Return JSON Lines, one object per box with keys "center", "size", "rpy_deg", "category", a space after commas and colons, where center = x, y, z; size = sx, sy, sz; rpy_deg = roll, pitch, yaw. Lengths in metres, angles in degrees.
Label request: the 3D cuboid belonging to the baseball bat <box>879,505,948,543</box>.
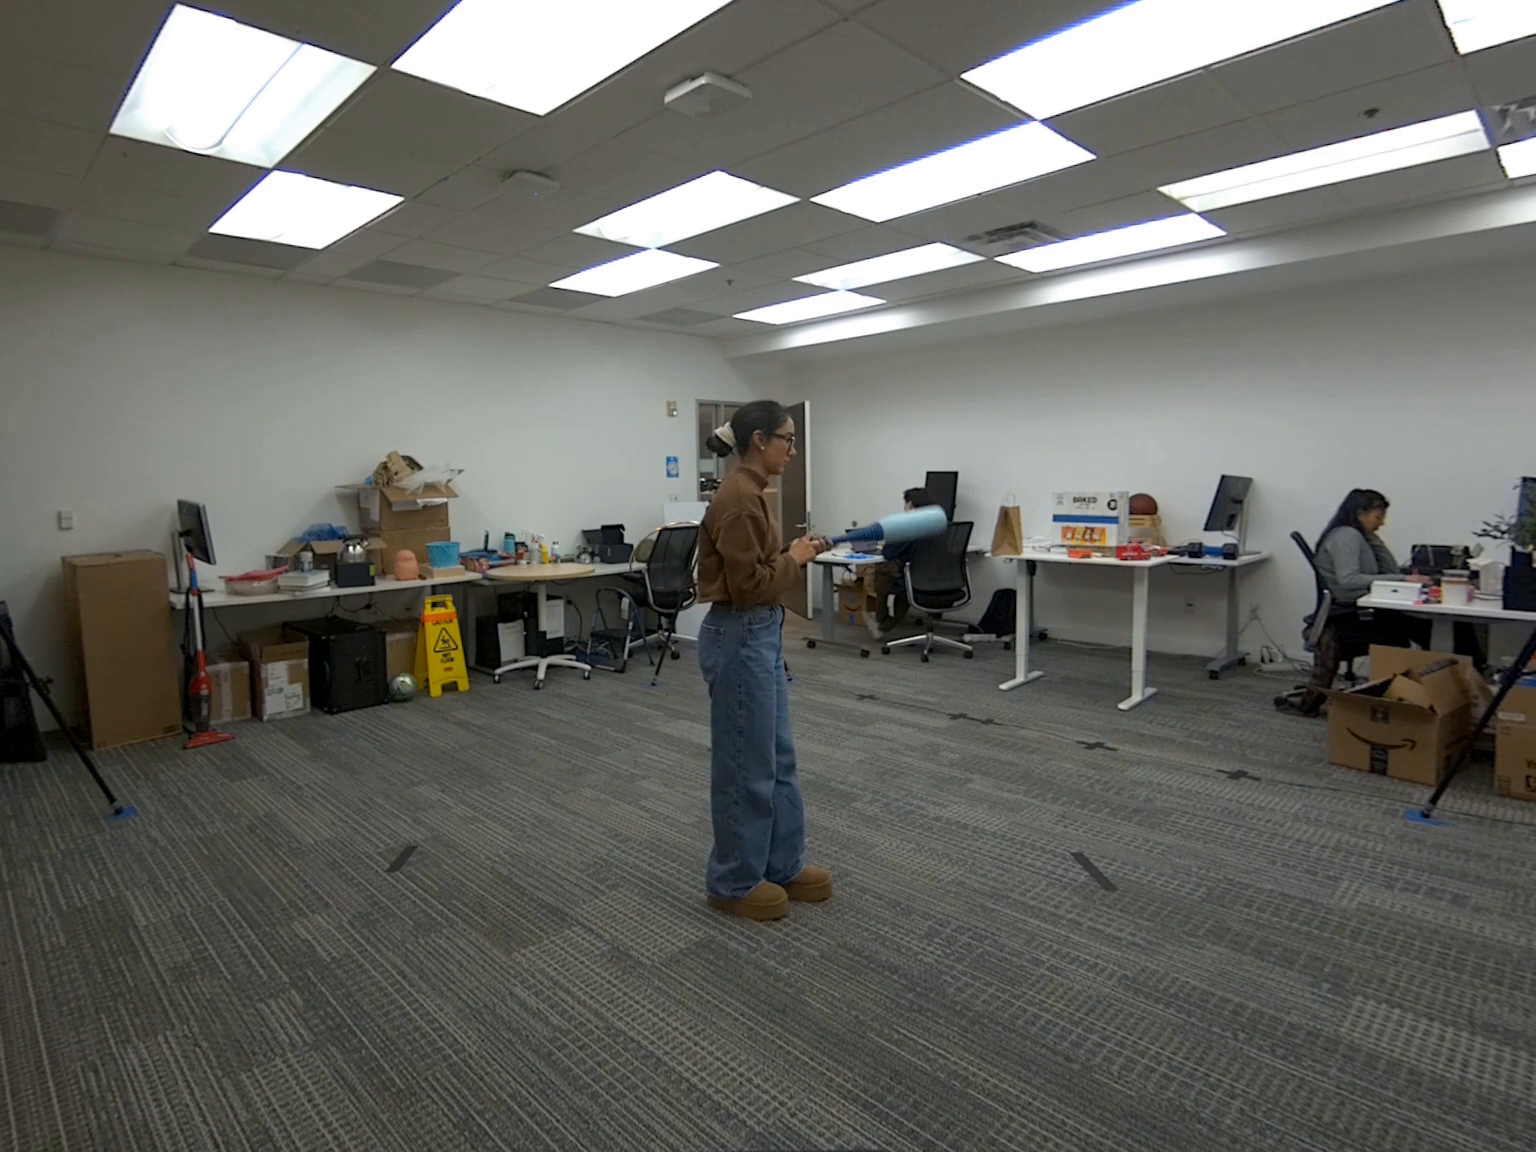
{"center": [0.315, -0.121, 2.869], "size": [0.539, 0.088, 0.090], "rpy_deg": [-11, 7, -9], "category": "baseball bat"}
